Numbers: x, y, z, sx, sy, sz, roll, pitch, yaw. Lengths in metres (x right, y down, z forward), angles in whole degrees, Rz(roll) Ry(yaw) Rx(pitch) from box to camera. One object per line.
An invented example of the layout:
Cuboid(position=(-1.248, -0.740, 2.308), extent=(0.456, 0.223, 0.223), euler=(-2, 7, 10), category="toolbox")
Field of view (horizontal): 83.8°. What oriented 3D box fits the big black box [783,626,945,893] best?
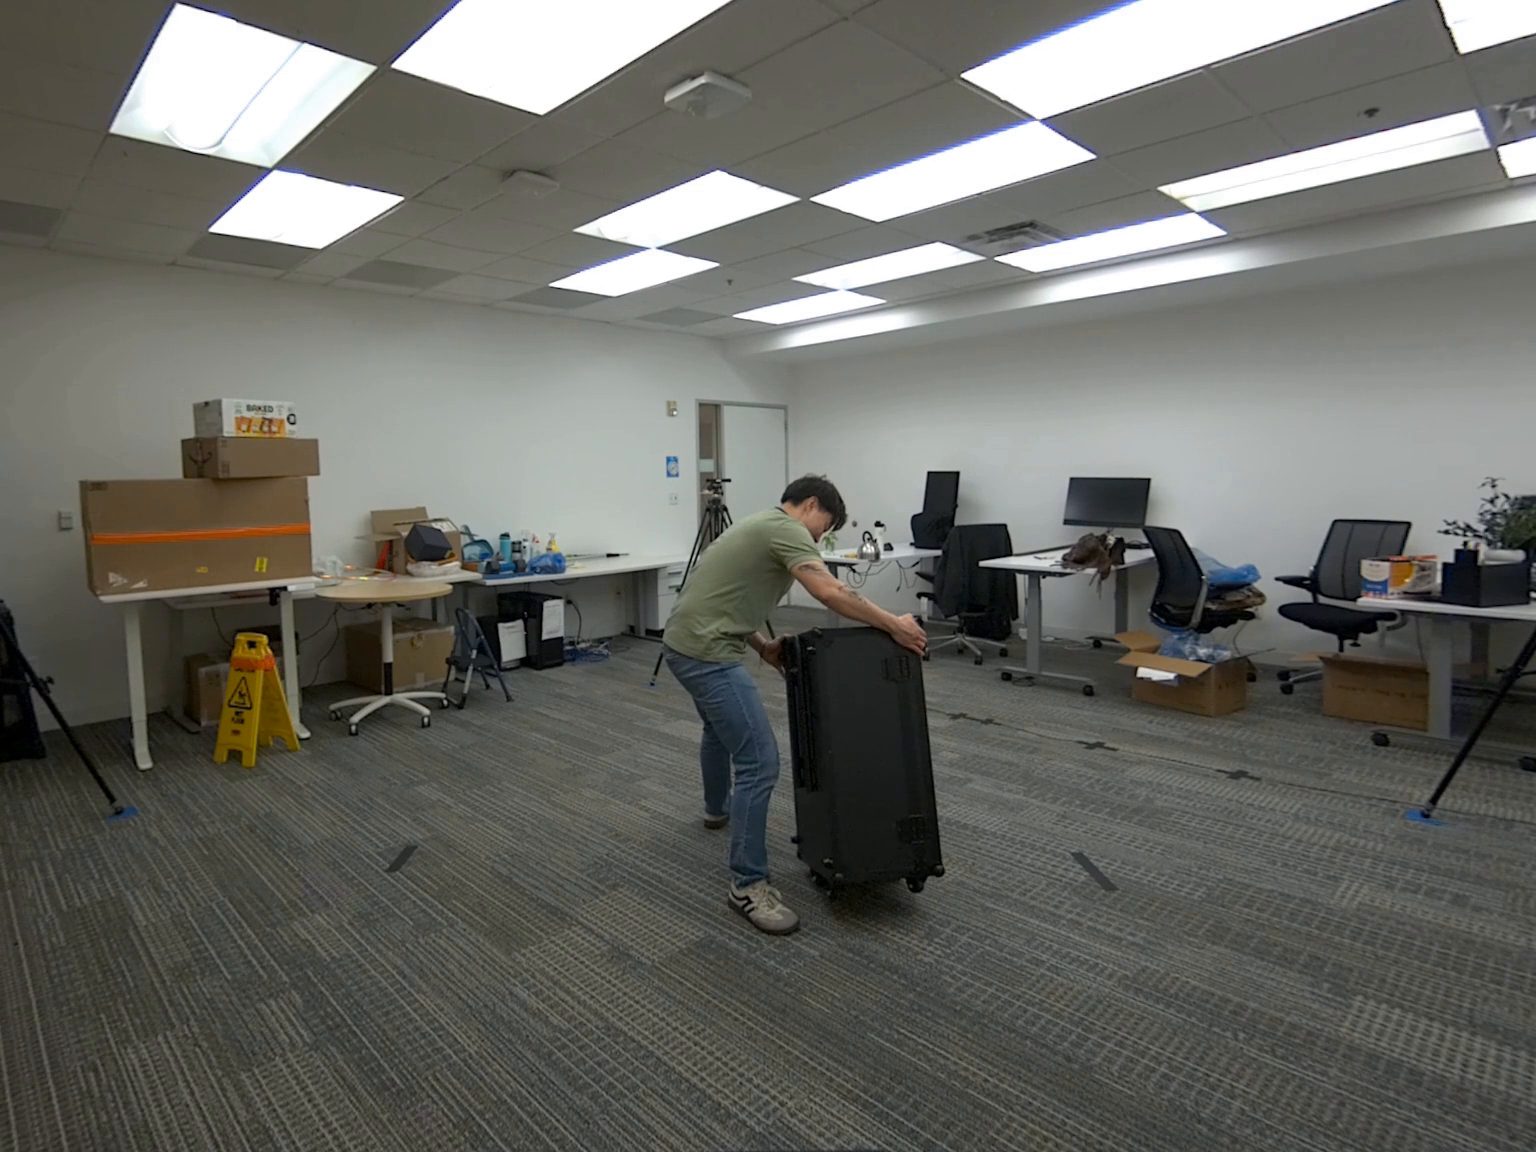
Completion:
Cuboid(position=(0.294, 0.622, 2.910), extent=(0.393, 0.871, 0.520), euler=(-3, -10, -10), category="big black box")
